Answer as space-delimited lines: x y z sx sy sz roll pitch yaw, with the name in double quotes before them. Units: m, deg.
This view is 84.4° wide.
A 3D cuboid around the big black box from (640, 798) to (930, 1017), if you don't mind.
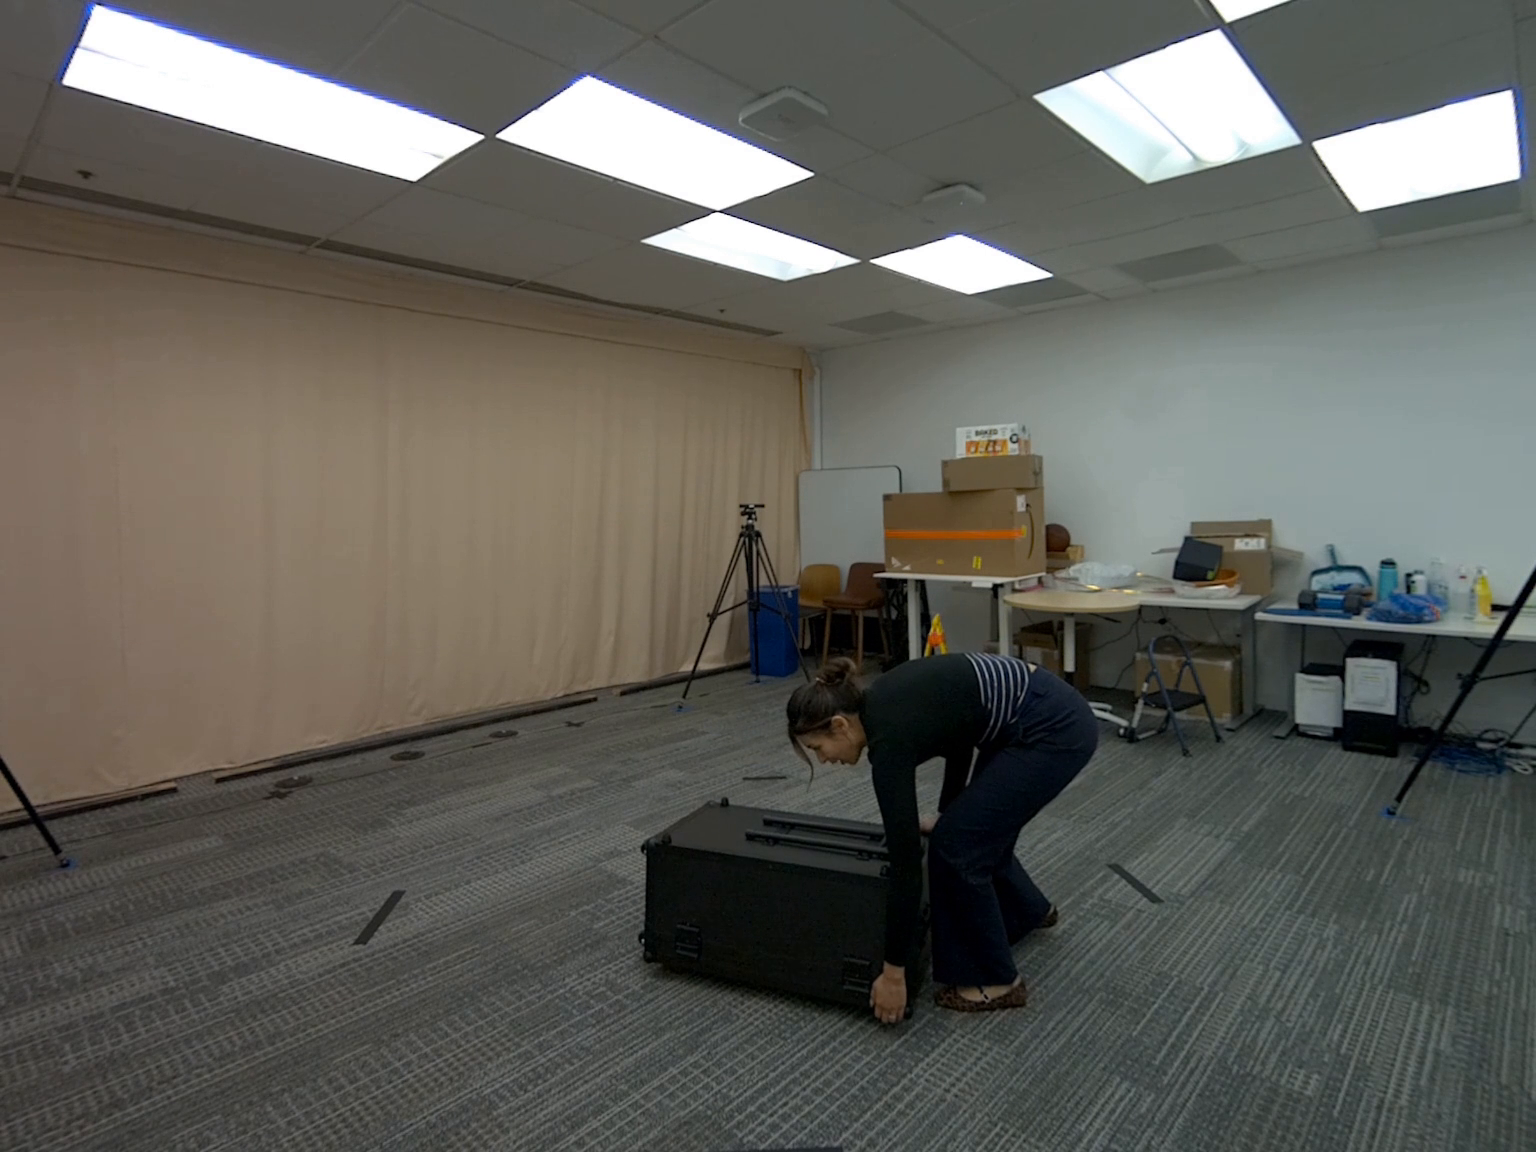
"big black box" 0.042 0.962 2.578 0.881 0.396 0.509 0 0 22
